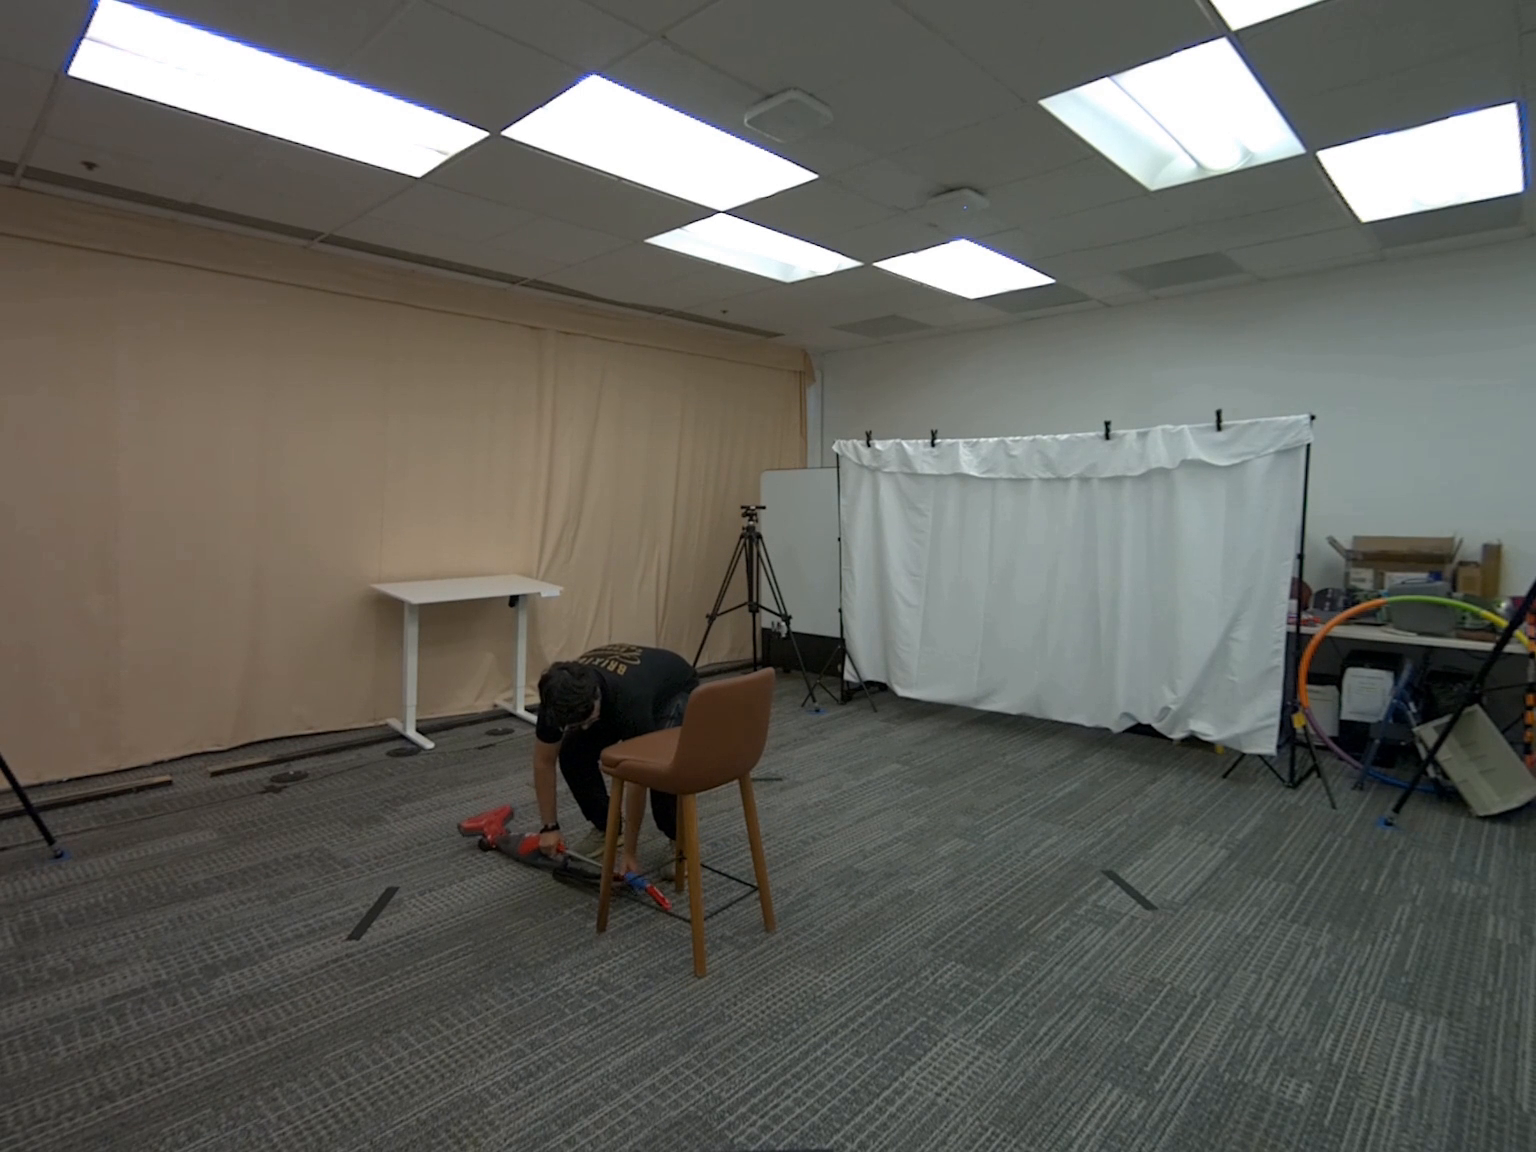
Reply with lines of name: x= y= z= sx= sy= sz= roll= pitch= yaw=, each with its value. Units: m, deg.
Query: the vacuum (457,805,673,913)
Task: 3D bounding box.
vacuum: x=-0.758 y=1.079 z=3.148 sx=1.085 sy=0.143 sz=0.245 roll=5 pitch=7 yaw=40
